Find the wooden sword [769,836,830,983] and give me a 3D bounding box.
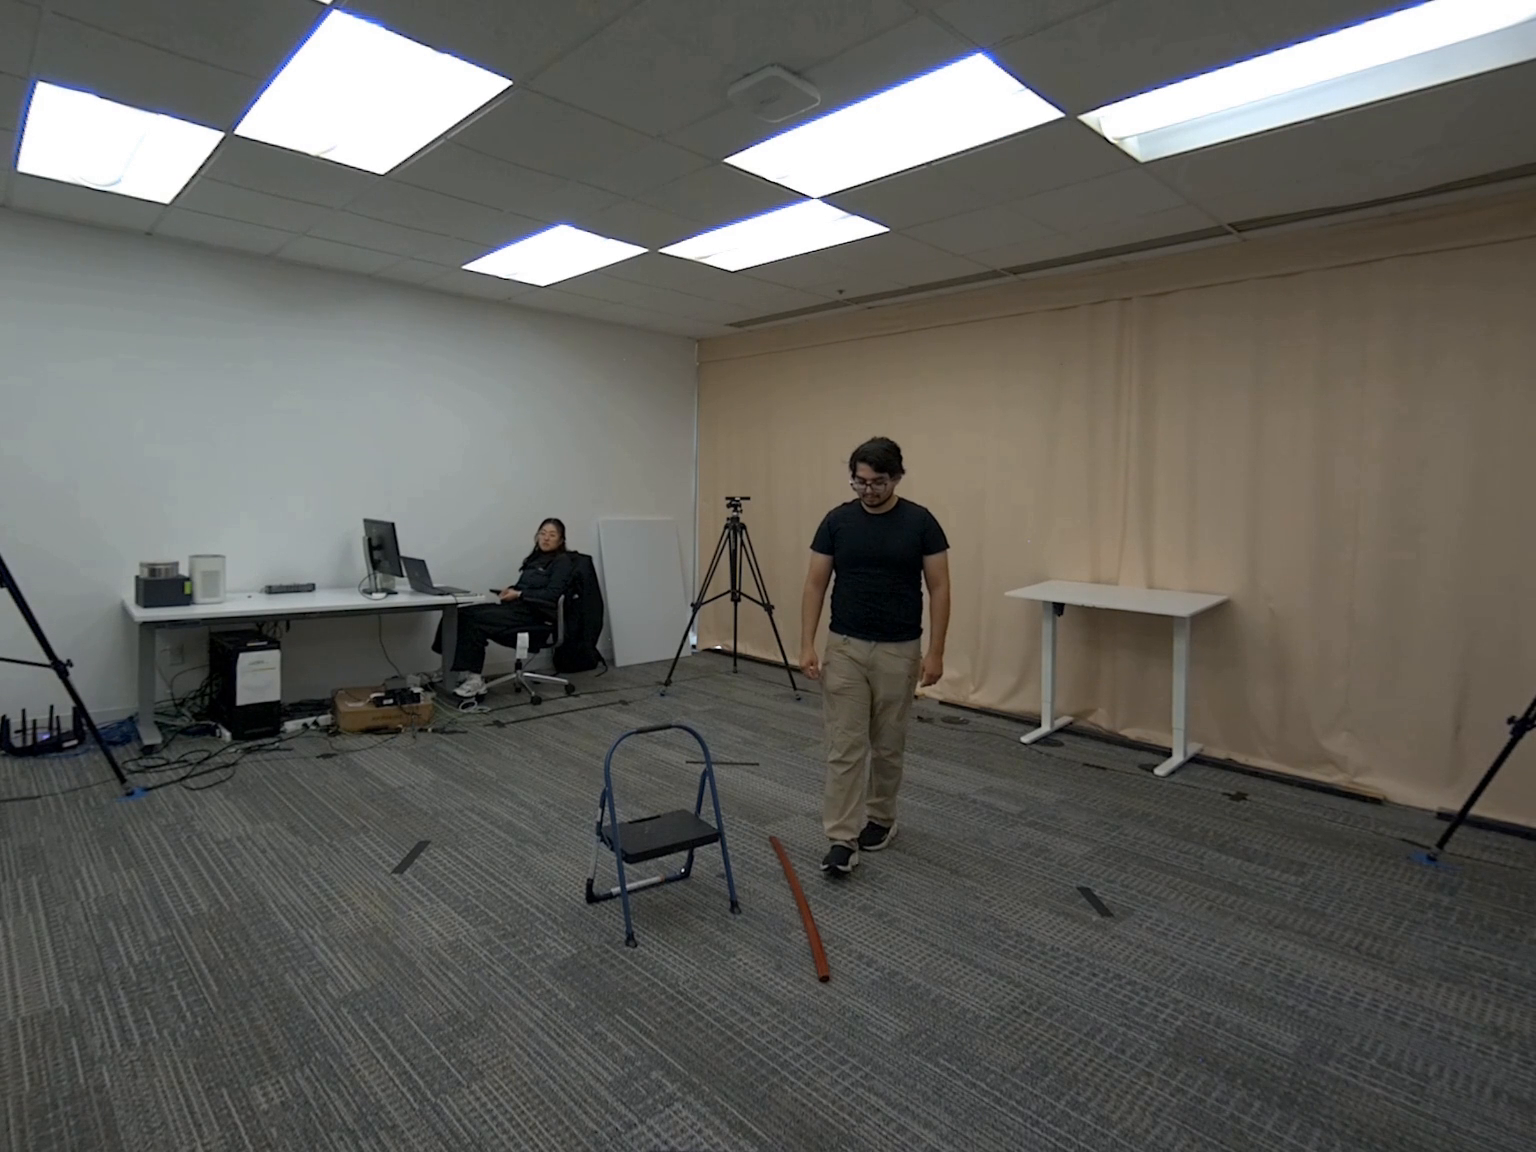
[{"bbox_3d":[0.092,1.102,2.945,0.051,0.024,1.033,-11,7,-6],"label":"wooden sword"}]
